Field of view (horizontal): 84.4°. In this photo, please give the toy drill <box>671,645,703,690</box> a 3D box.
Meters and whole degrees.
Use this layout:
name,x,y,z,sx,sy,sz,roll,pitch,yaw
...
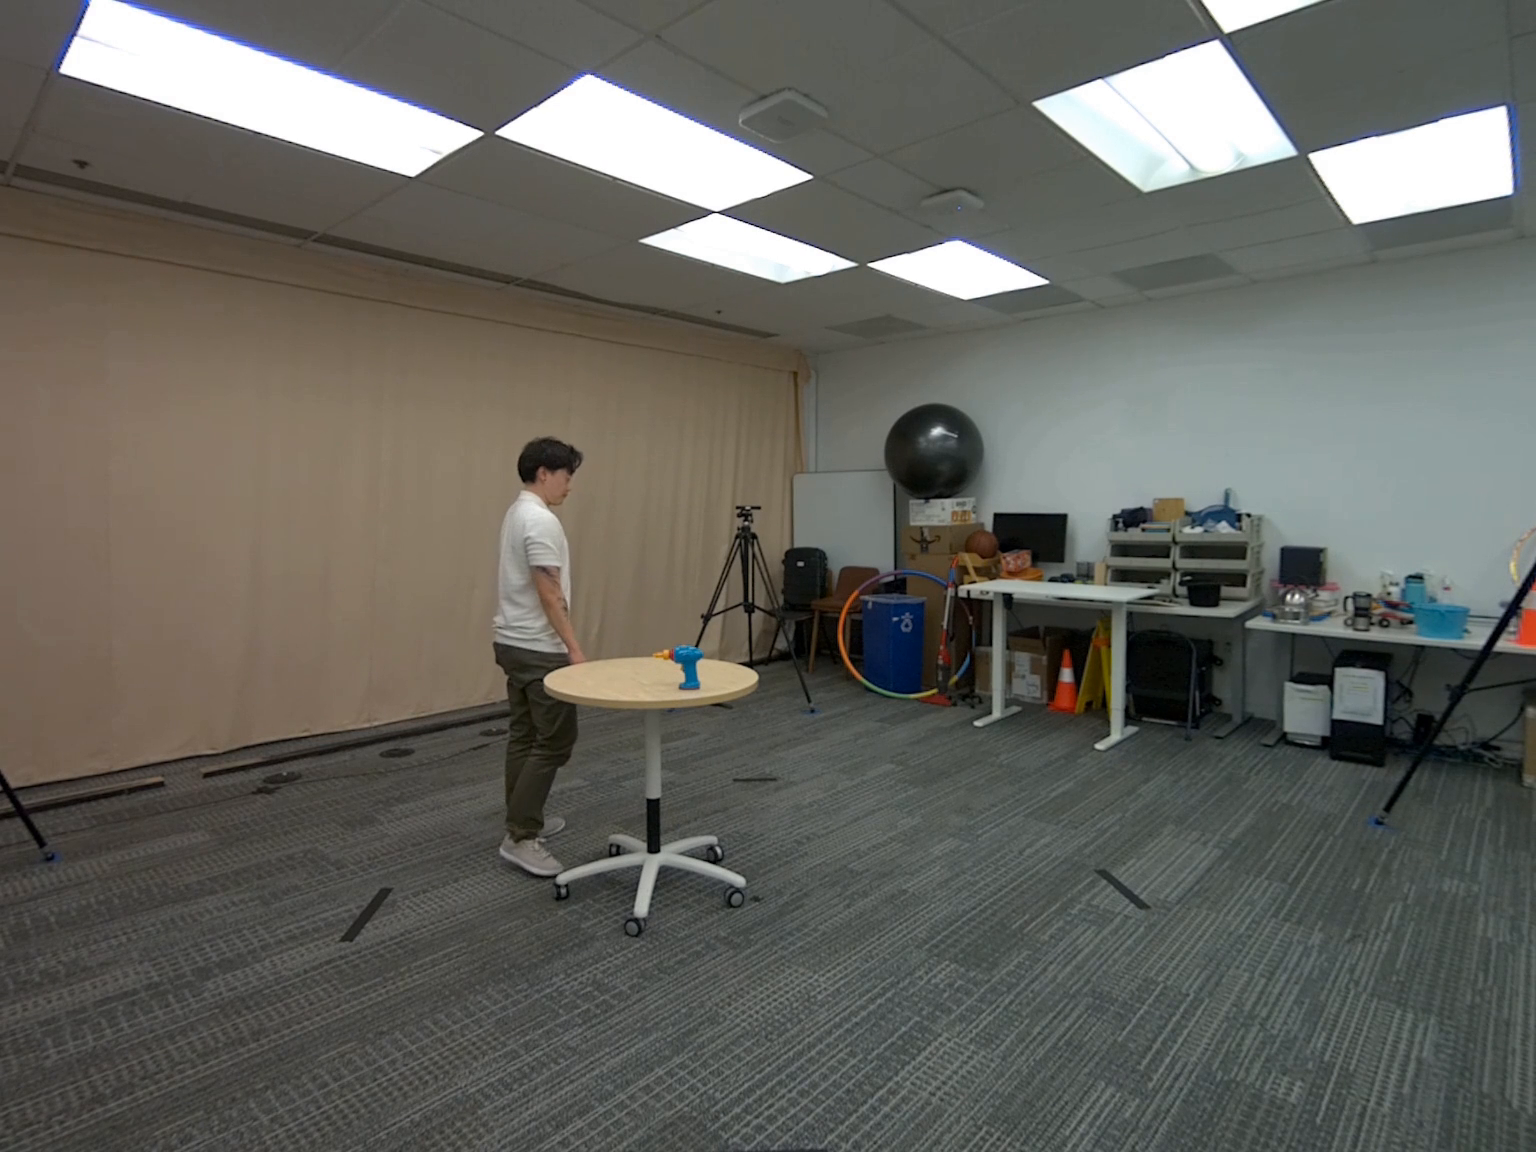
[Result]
name,x,y,z,sx,sy,sz,roll,pitch,yaw
toy drill,-0.308,0.302,2.816,0.169,0.145,0.061,0,5,-2
